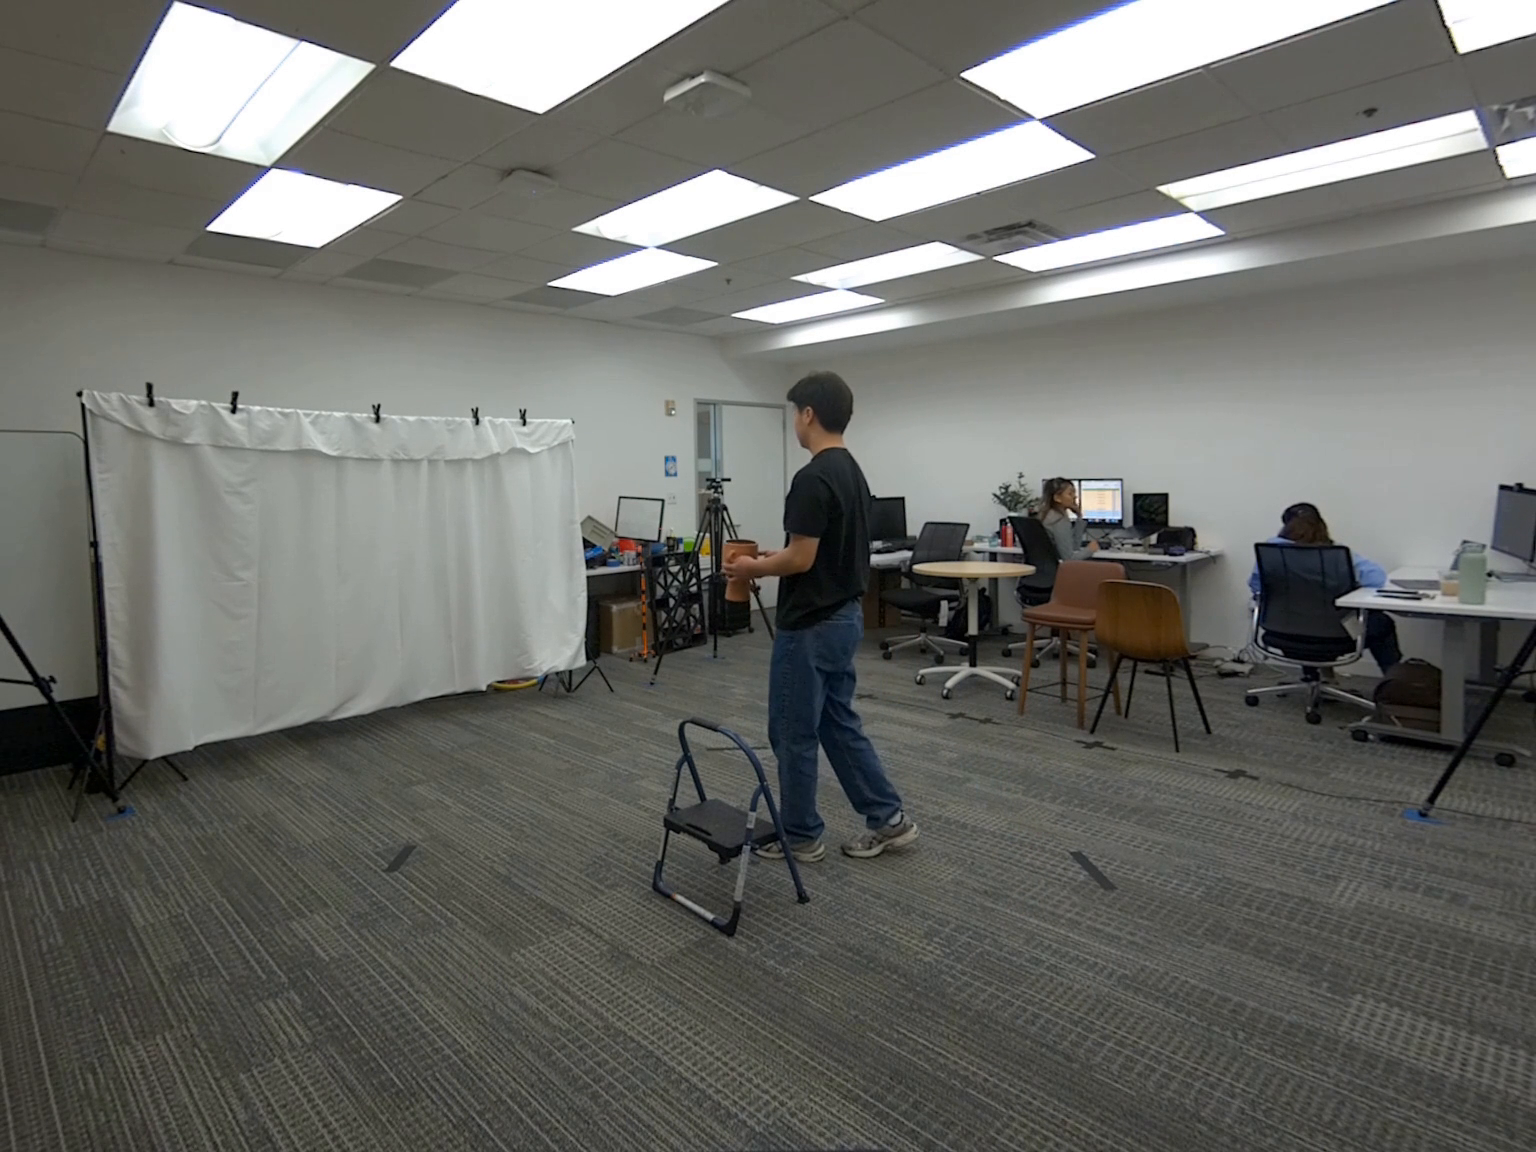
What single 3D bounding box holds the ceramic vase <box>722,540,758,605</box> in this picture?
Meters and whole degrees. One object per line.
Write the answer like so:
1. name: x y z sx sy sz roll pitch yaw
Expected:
1. ceramic vase: -0.100 -0.022 3.242 0.156 0.218 0.138 -1 11 -22
